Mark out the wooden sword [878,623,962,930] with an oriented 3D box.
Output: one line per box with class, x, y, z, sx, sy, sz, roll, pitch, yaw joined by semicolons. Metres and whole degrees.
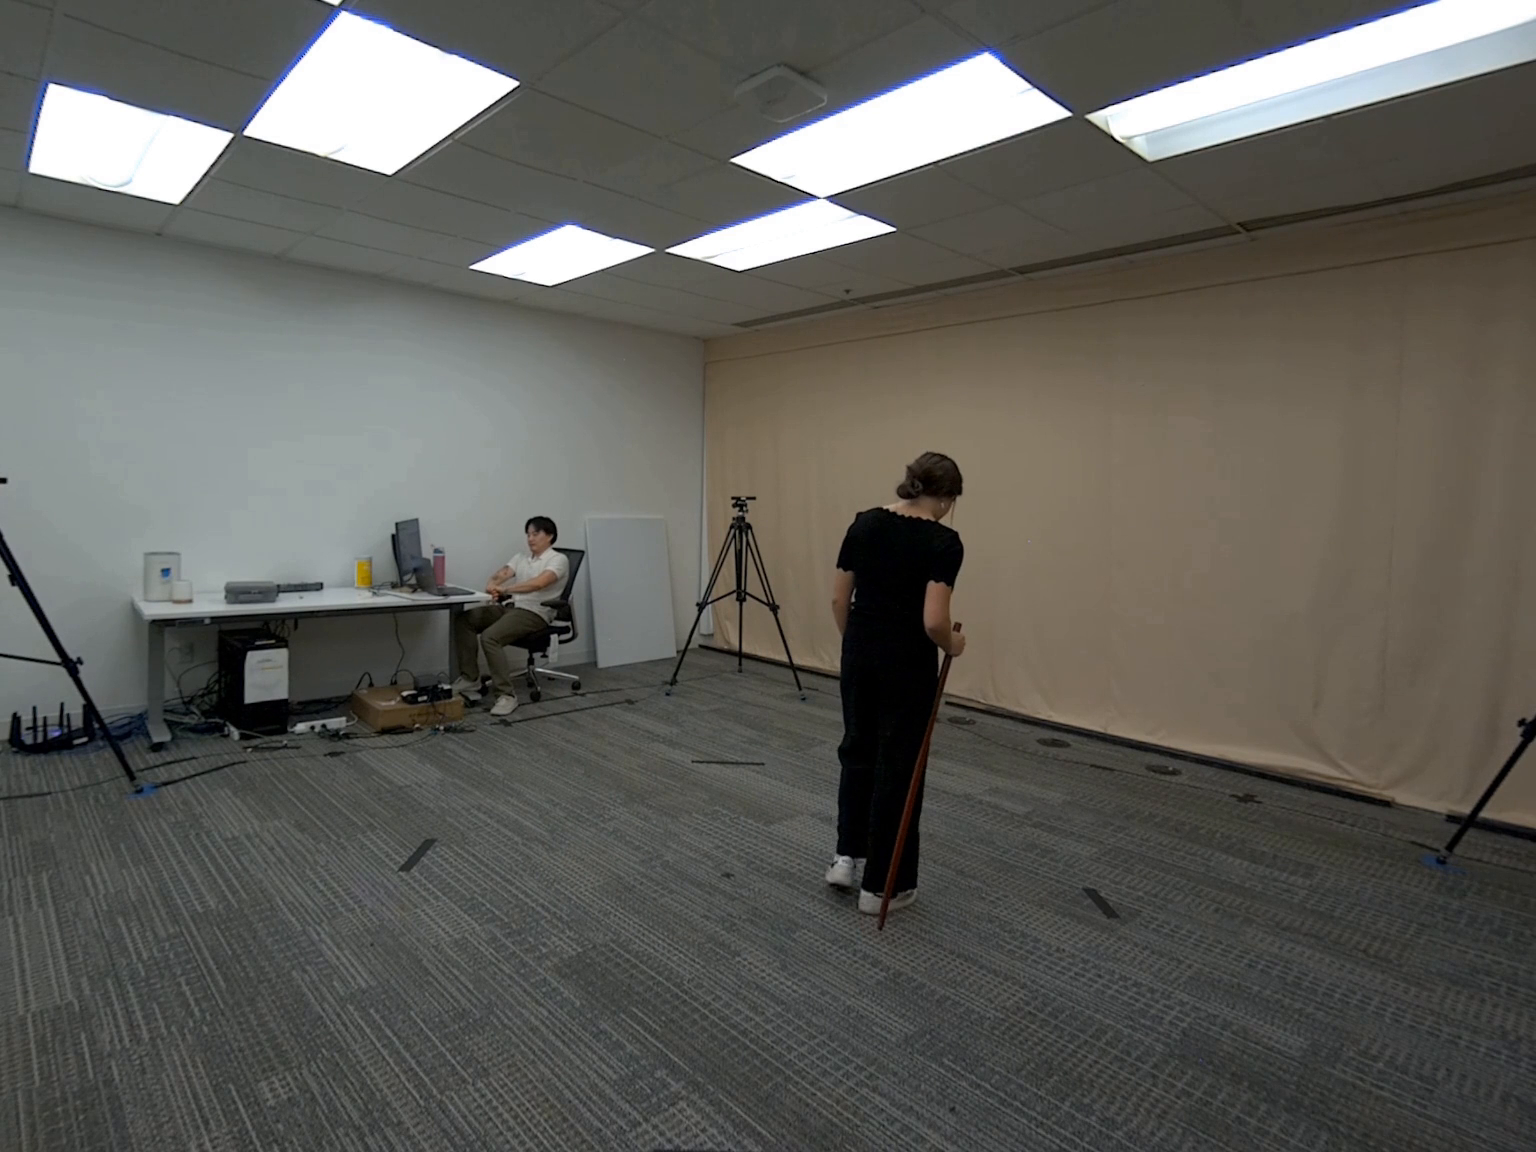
wooden sword;0.499;0.658;2.768;0.025;1.029;0.050;10;-13;45
